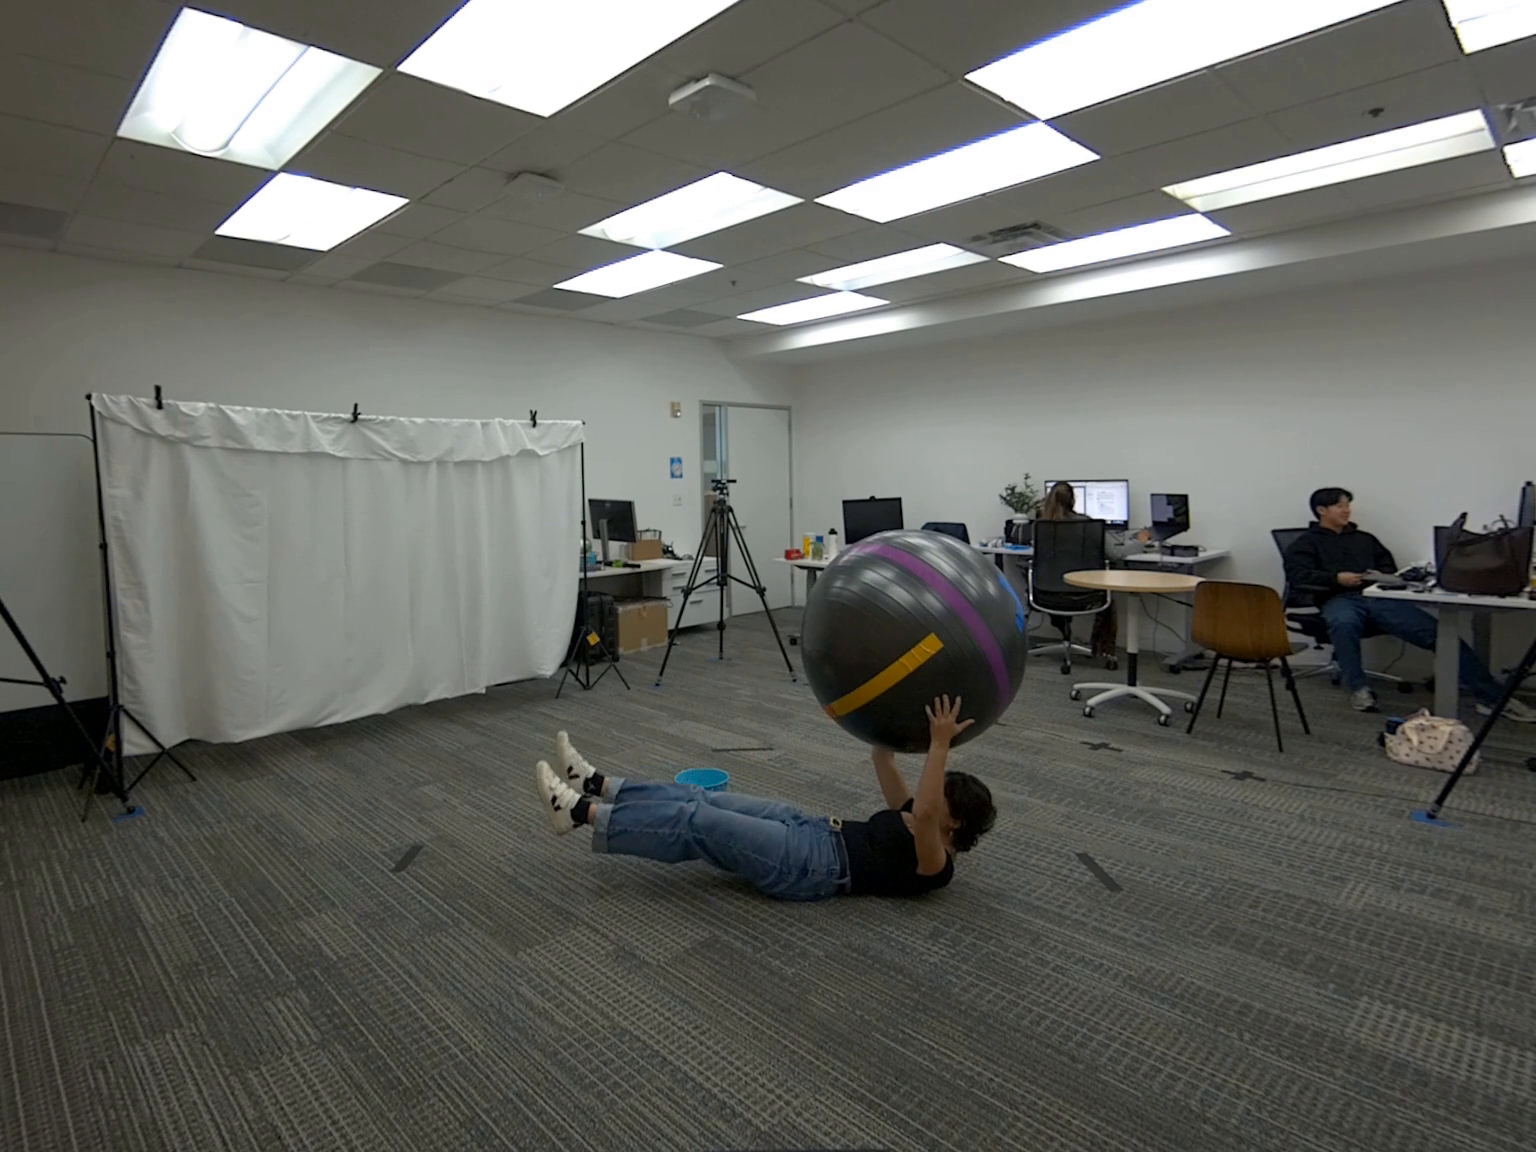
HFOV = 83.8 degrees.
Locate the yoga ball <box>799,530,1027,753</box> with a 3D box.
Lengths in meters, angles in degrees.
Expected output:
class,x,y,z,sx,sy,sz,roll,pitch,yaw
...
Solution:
class,x,y,z,sx,sy,sz,roll,pitch,yaw
yoga ball,0.485,0.224,2.923,0.757,0.755,0.762,-1,5,-2
